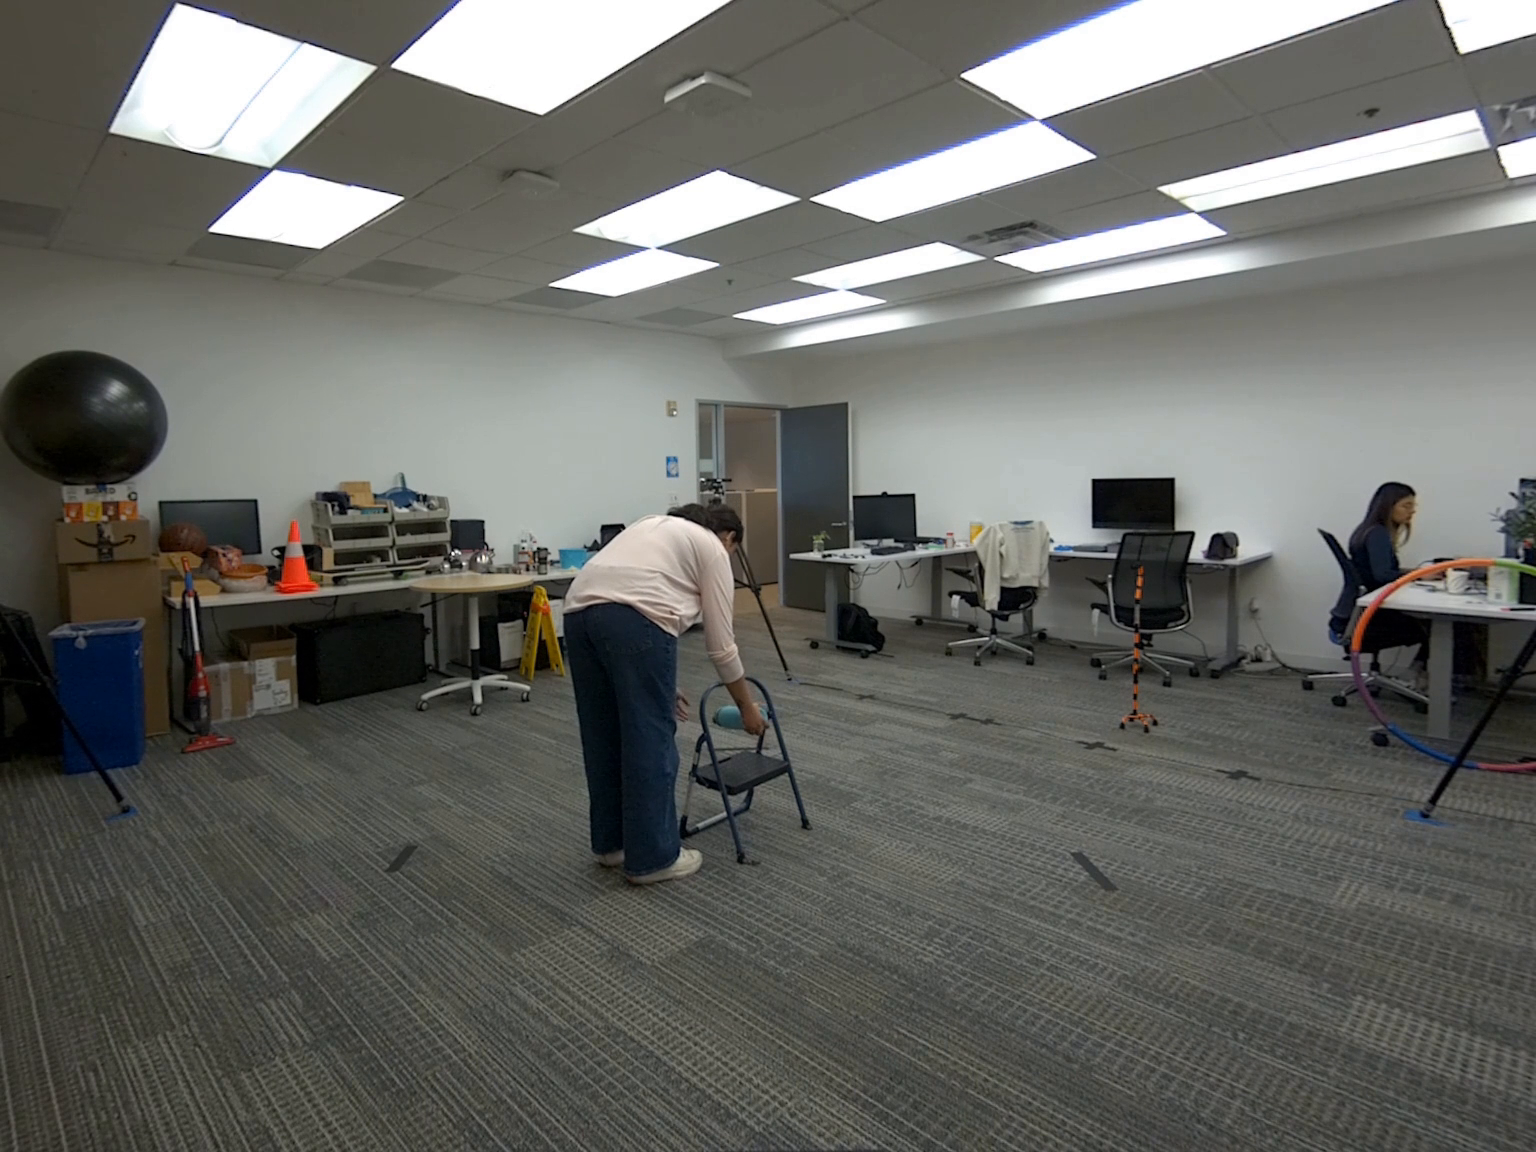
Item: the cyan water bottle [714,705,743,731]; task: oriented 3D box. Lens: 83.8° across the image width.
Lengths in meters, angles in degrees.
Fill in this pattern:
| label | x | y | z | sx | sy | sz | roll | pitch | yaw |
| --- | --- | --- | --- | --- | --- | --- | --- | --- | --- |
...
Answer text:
| label | x | y | z | sx | sy | sz | roll | pitch | yaw |
| --- | --- | --- | --- | --- | --- | --- | --- | --- | --- |
| cyan water bottle | -0.118 | 0.554 | 3.337 | 0.090 | 0.093 | 0.289 | -4 | -3 | -32 |
